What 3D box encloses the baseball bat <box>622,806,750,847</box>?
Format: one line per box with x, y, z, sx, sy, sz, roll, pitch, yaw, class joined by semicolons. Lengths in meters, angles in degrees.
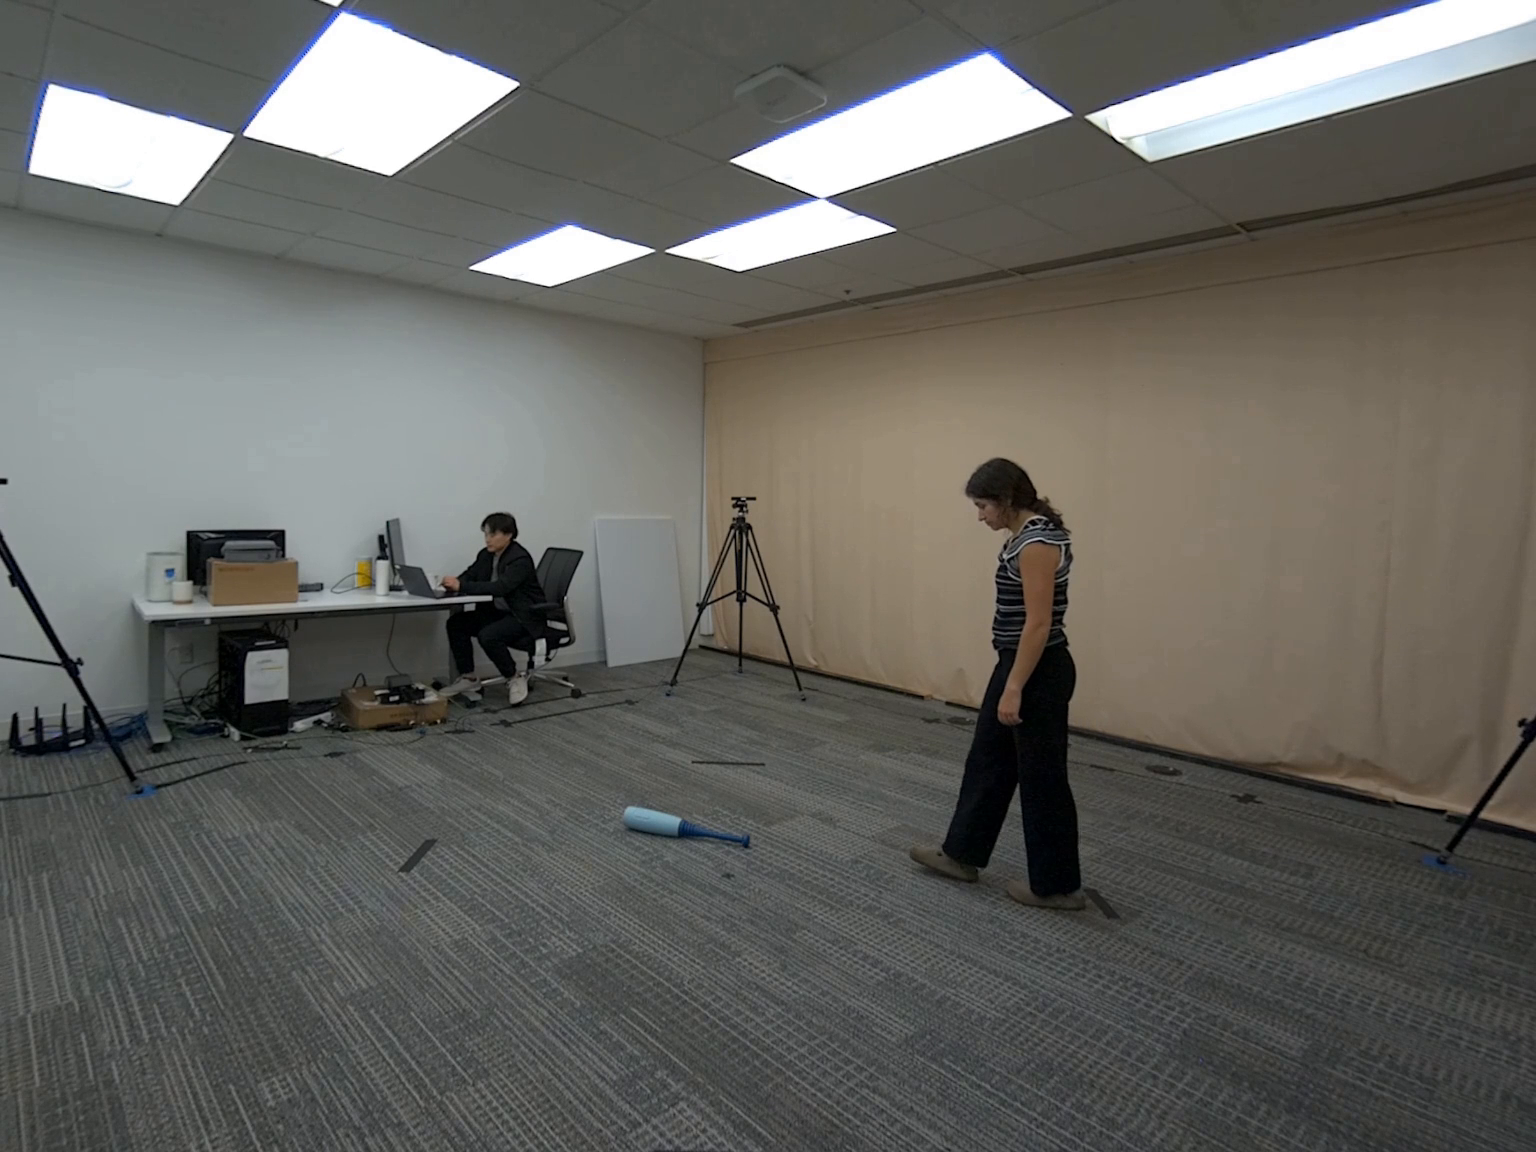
-0.346;1.039;3.443;0.551;0.089;0.088;6;5;17;baseball bat
